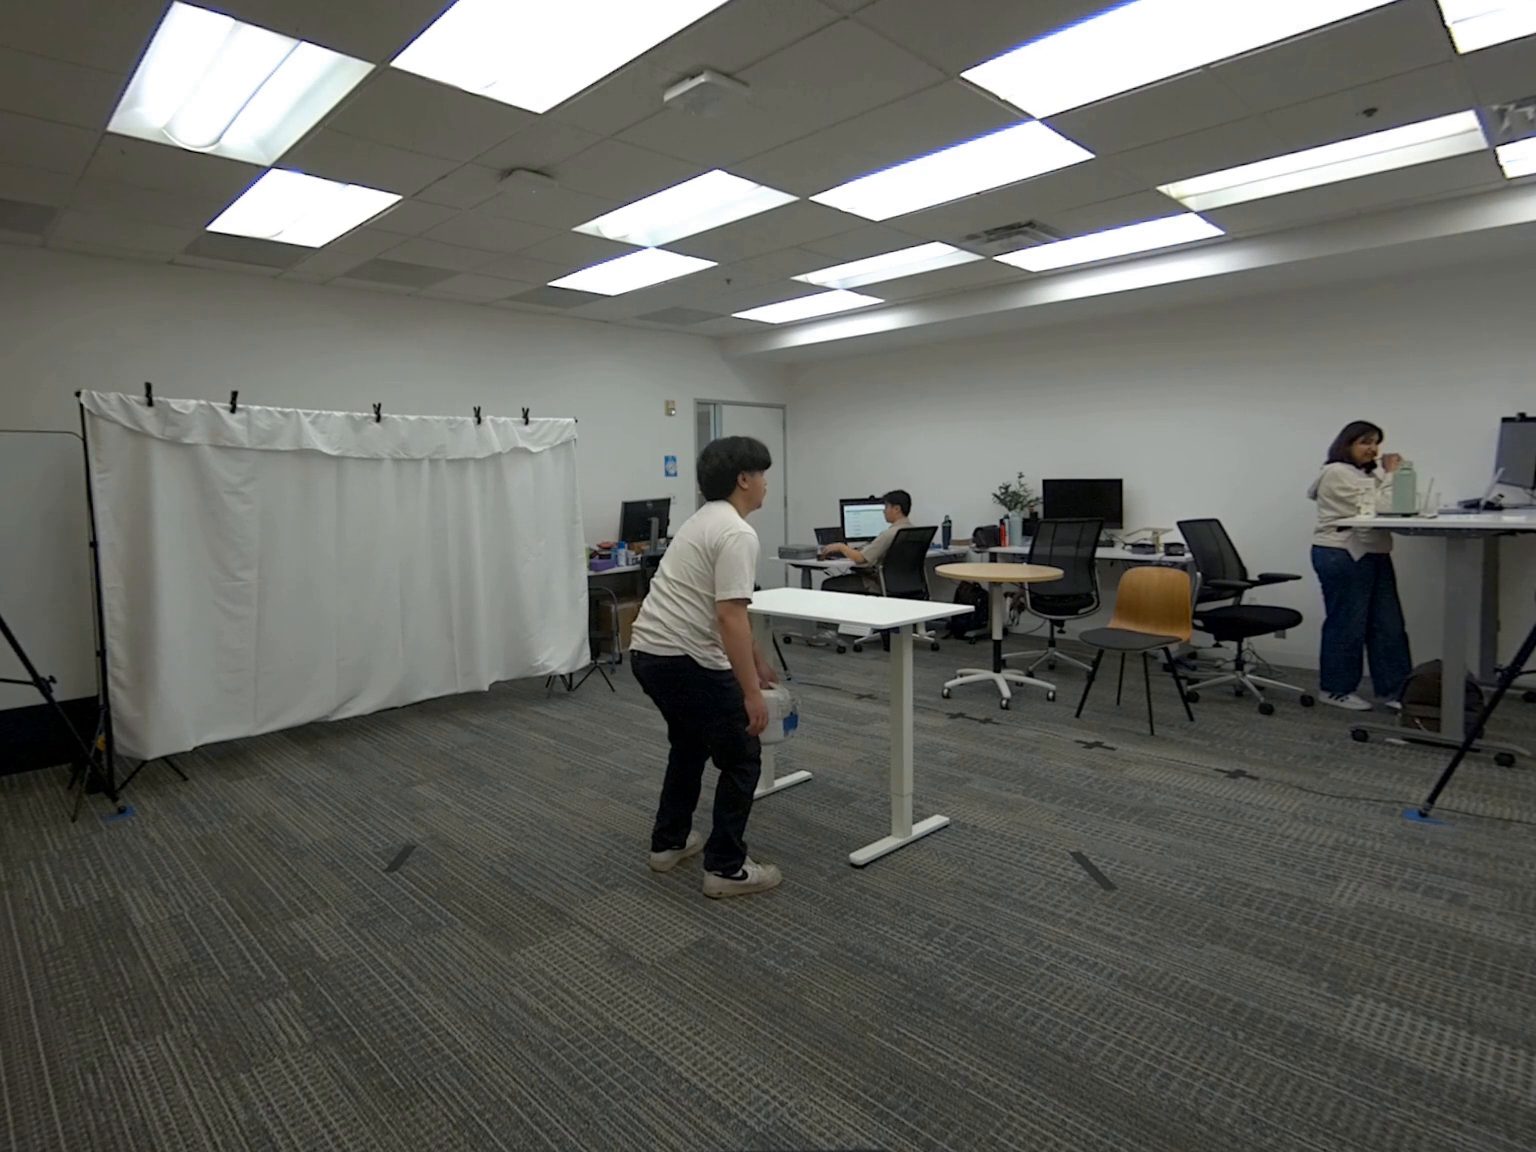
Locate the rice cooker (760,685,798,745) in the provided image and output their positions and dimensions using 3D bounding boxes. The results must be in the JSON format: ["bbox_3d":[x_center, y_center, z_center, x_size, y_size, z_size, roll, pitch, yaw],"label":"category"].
[{"bbox_3d":[-0.022,0.515,3.247,0.227,0.233,0.211,3,2,41],"label":"rice cooker"}]
